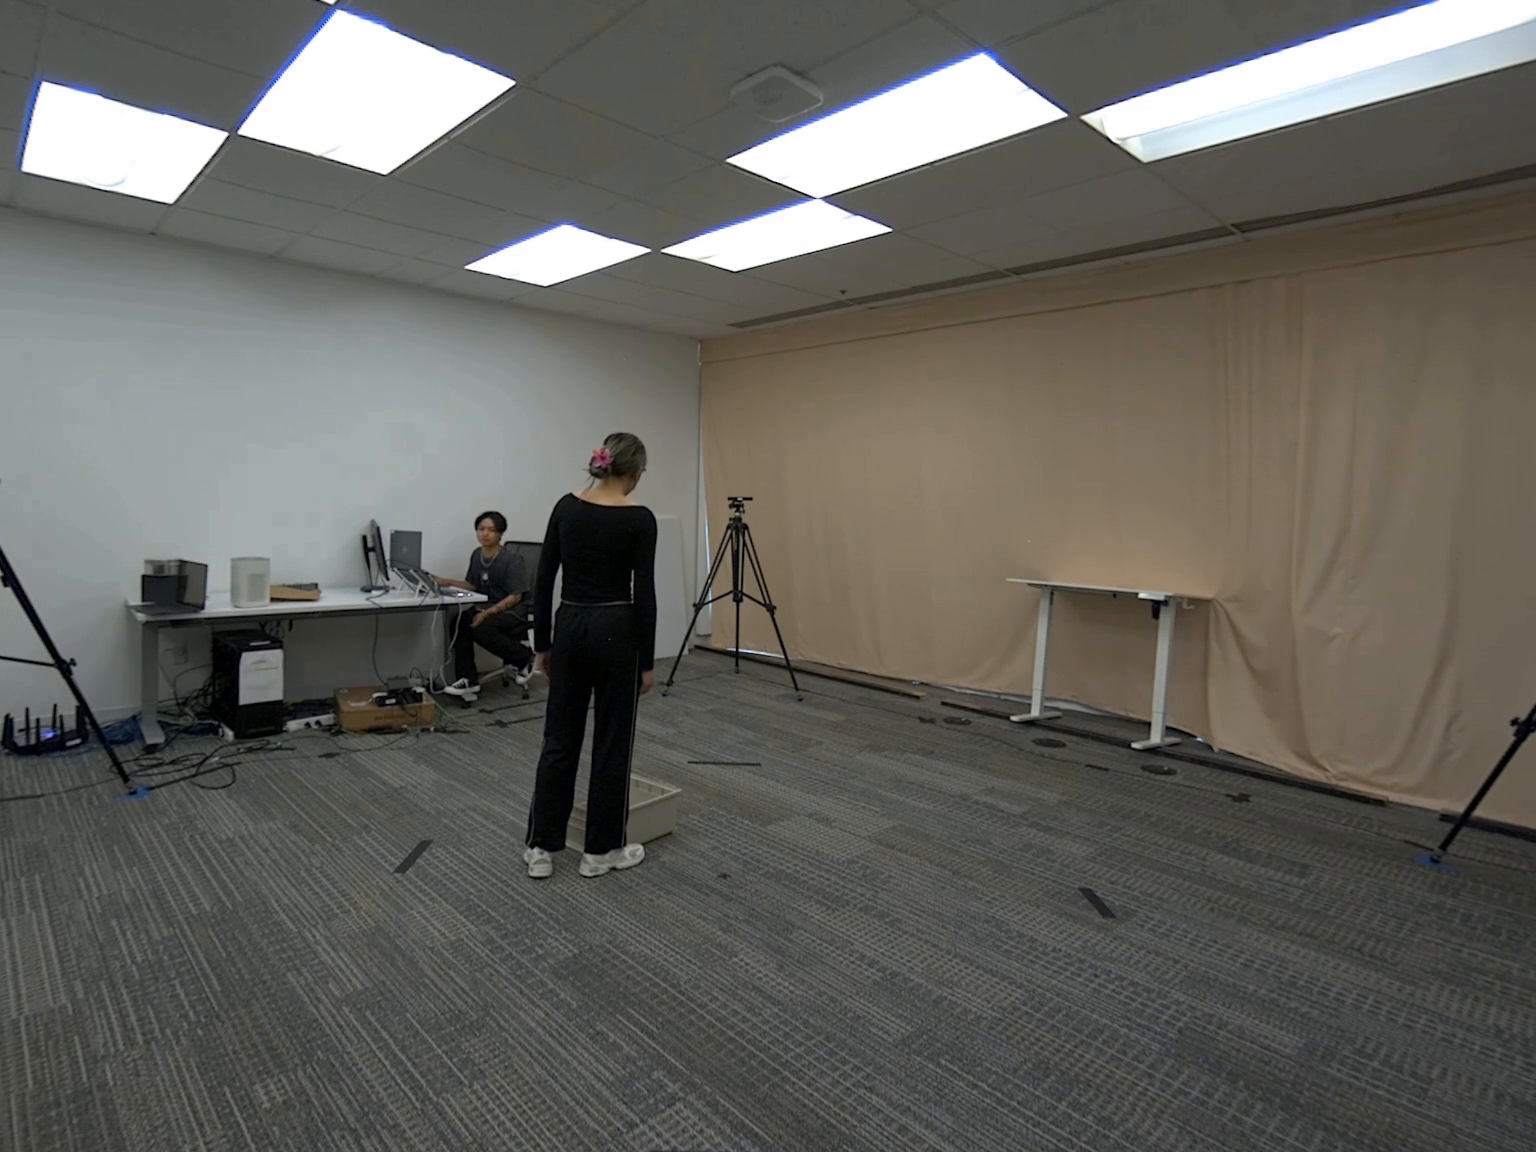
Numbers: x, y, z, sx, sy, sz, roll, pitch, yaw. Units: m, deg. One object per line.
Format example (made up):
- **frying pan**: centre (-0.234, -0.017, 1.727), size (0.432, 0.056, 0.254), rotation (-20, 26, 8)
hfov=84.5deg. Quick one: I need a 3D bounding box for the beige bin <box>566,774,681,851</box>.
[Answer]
- **beige bin**: centre (-0.641, 0.973, 3.459), size (0.387, 0.188, 0.413), rotation (7, 7, 37)
